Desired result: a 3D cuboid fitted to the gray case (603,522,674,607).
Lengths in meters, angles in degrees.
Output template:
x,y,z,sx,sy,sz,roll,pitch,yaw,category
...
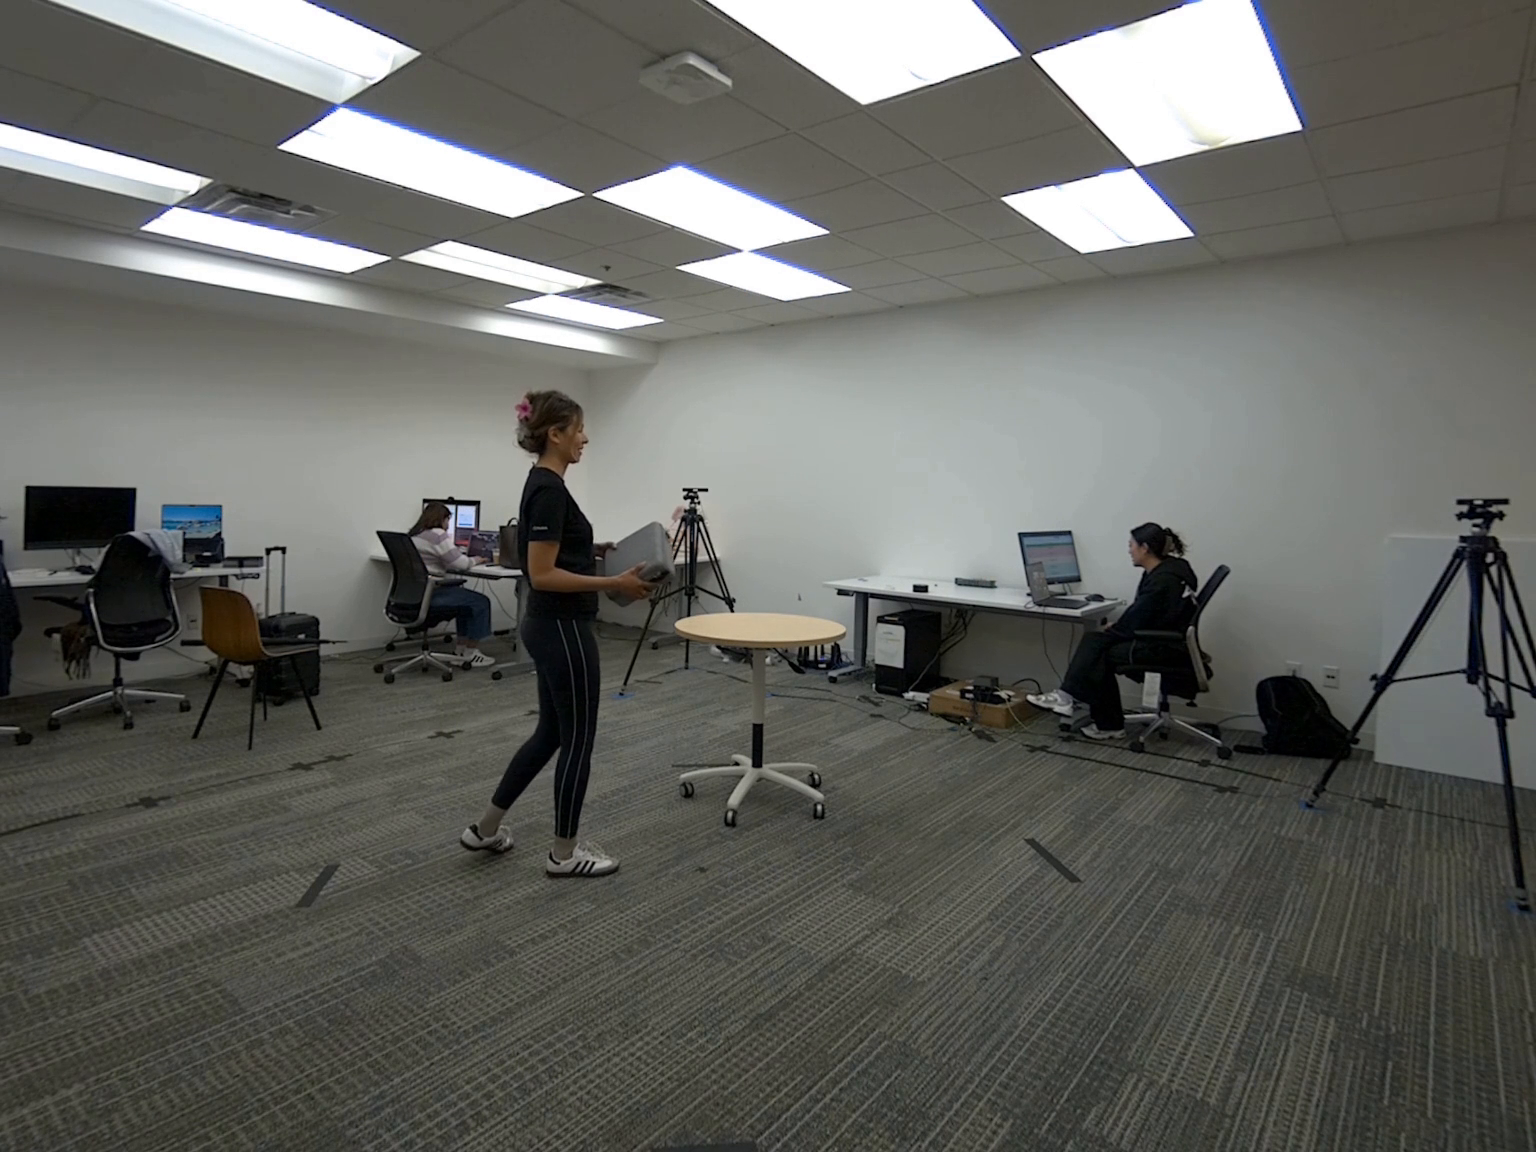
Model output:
x,y,z,sx,sy,sz,roll,pitch,yaw,category
-0.490,-0.049,3.086,0.259,0.269,0.100,-30,-50,16,gray case
